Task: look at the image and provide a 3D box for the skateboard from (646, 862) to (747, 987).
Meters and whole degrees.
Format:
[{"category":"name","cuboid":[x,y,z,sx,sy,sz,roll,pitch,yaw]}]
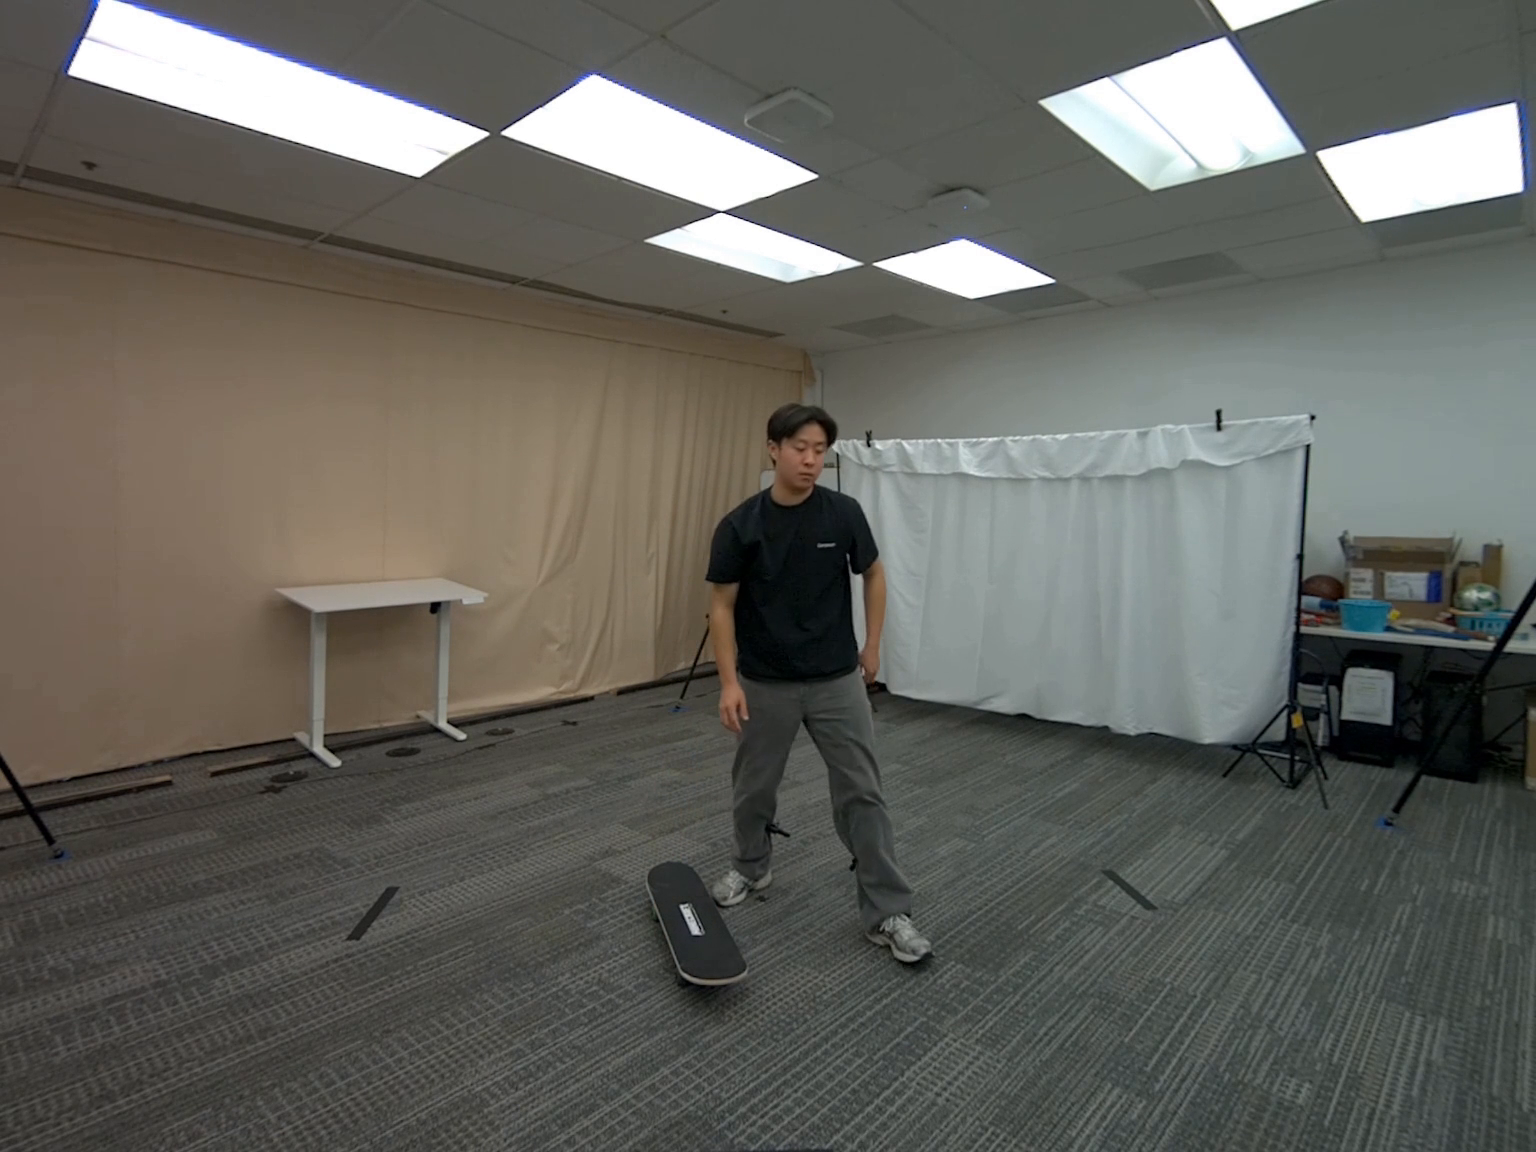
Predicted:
[{"category":"skateboard","cuboid":[-0.236,1.110,2.665,0.190,0.110,0.800,-2,5,-17]}]
